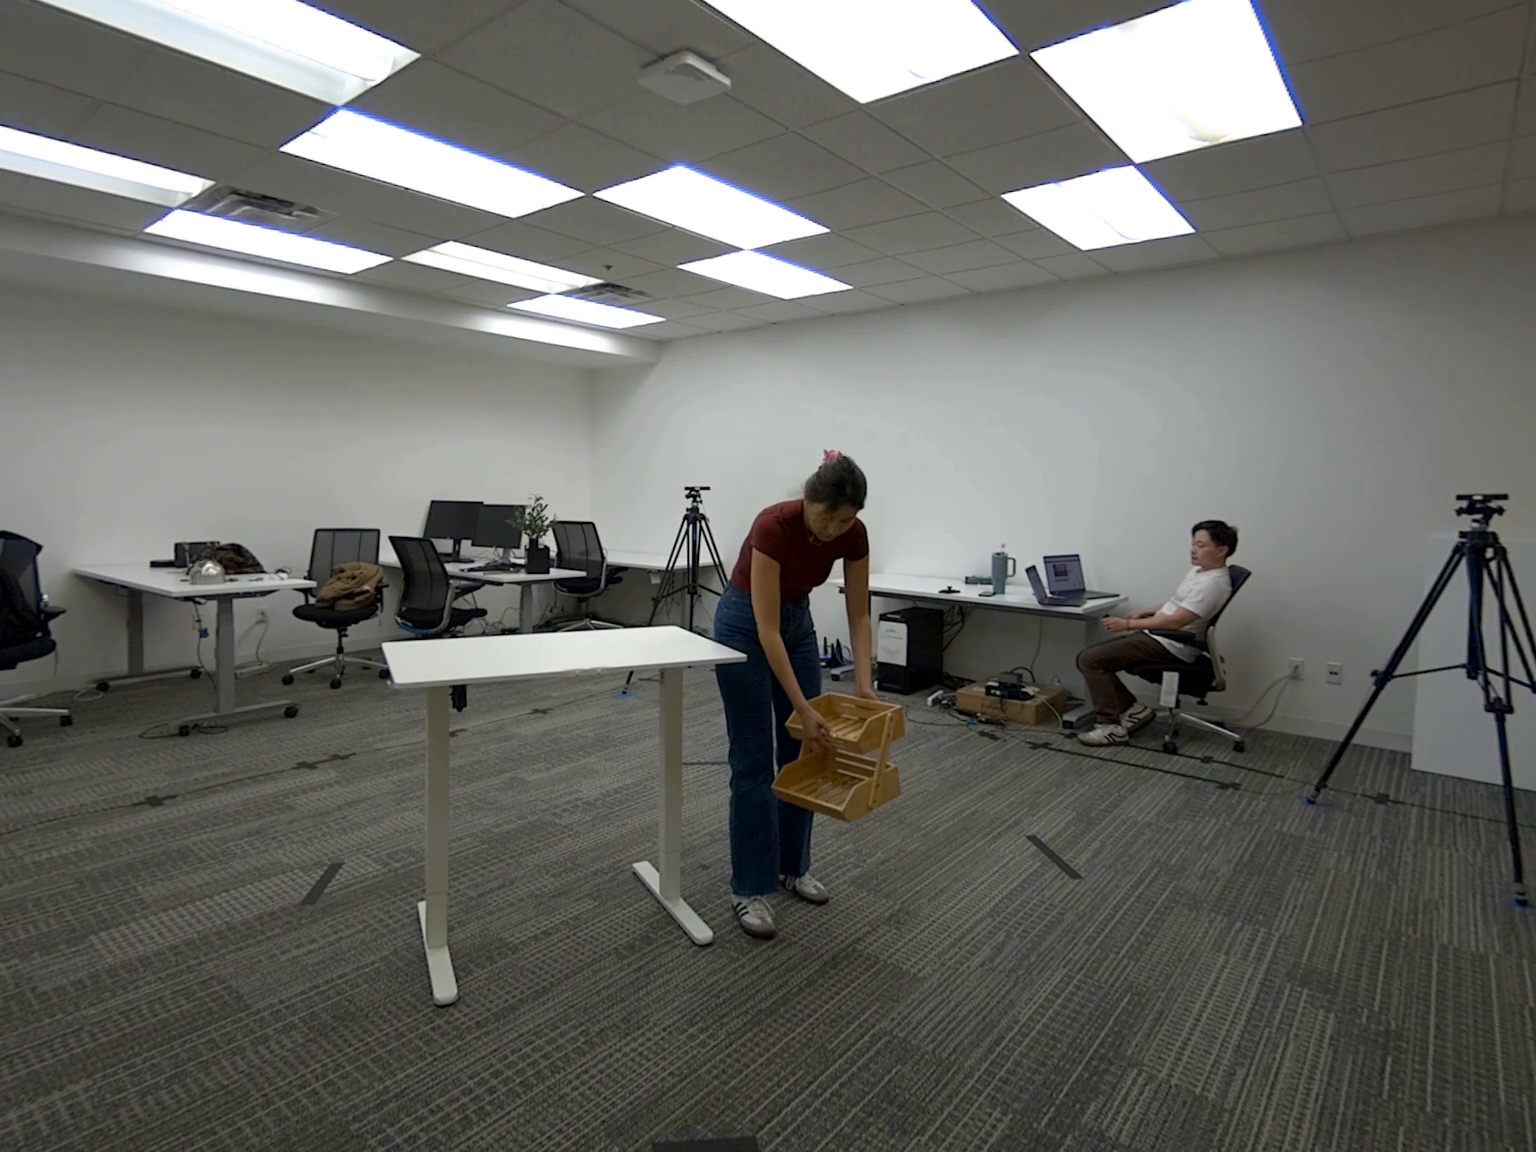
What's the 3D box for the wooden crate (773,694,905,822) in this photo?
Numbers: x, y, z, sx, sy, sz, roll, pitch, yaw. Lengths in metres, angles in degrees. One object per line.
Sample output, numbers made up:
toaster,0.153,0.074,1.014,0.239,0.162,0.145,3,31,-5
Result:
wooden crate,0.198,0.533,2.577,0.295,0.271,0.335,-13,9,-39
